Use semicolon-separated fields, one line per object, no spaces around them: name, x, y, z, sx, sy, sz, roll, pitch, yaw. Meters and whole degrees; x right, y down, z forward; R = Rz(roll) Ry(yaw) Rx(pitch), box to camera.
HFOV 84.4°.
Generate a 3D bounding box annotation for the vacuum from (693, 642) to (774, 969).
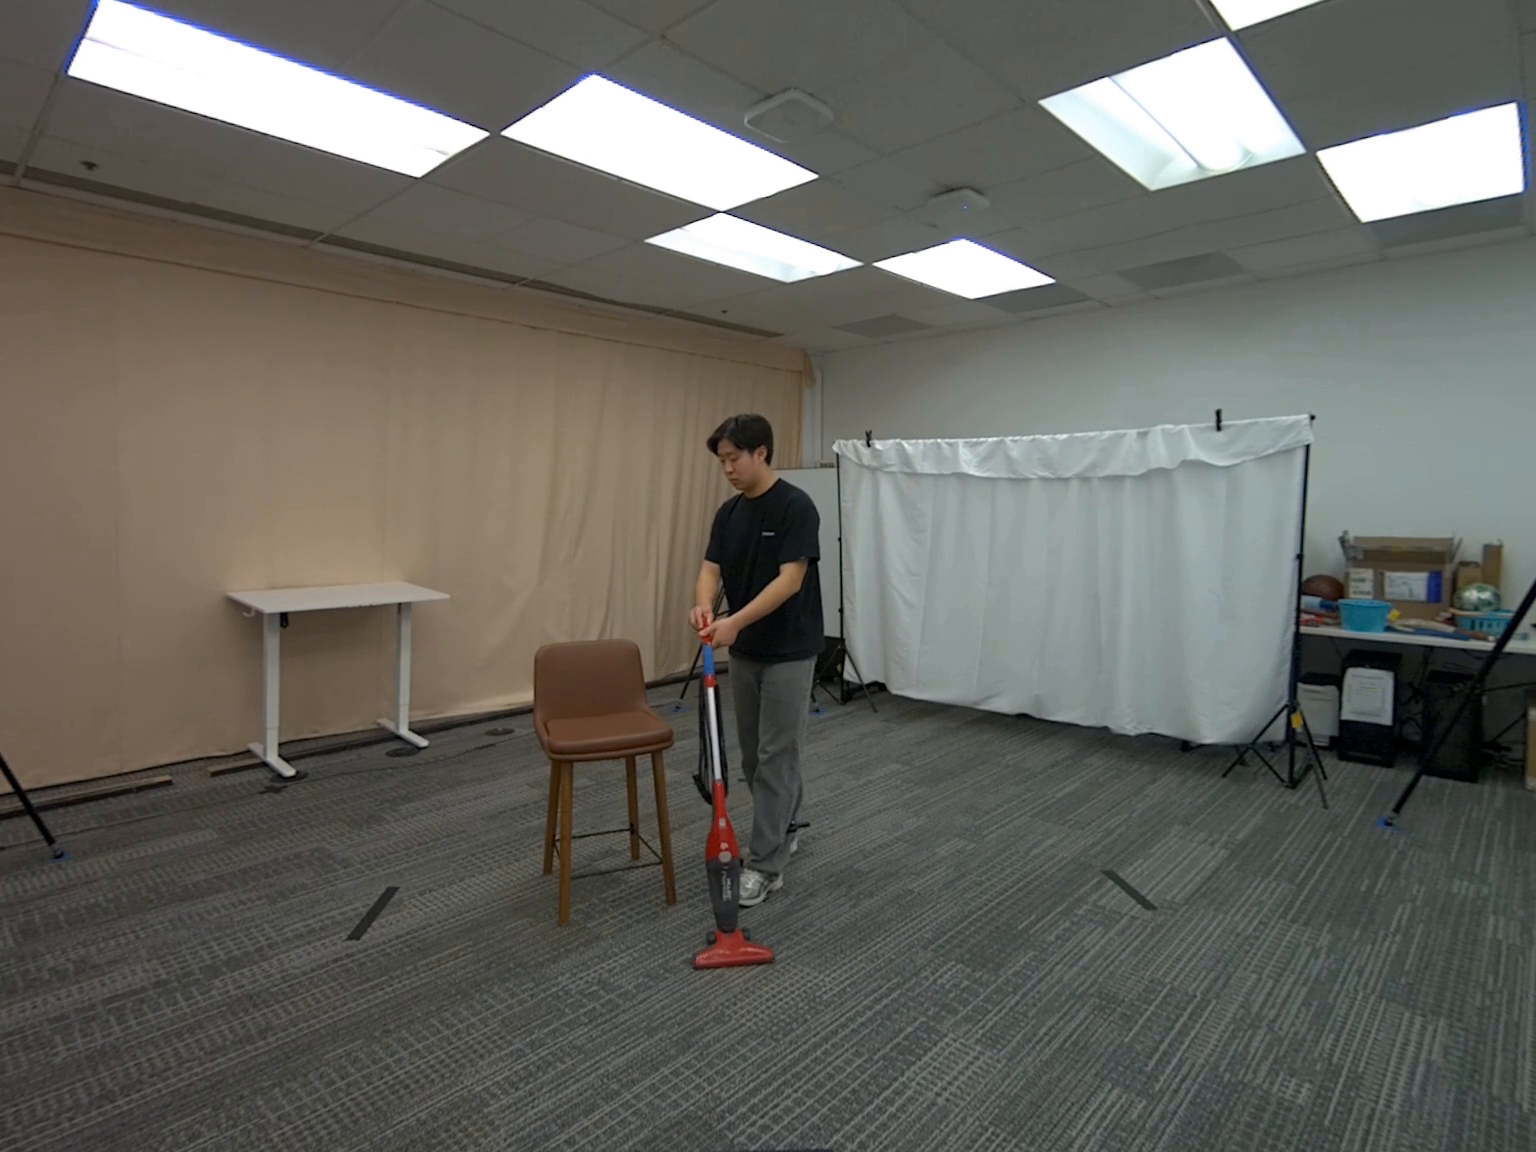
vacuum;-0.168;0.668;2.764;0.251;1.062;0.143;-4;-17;-8
